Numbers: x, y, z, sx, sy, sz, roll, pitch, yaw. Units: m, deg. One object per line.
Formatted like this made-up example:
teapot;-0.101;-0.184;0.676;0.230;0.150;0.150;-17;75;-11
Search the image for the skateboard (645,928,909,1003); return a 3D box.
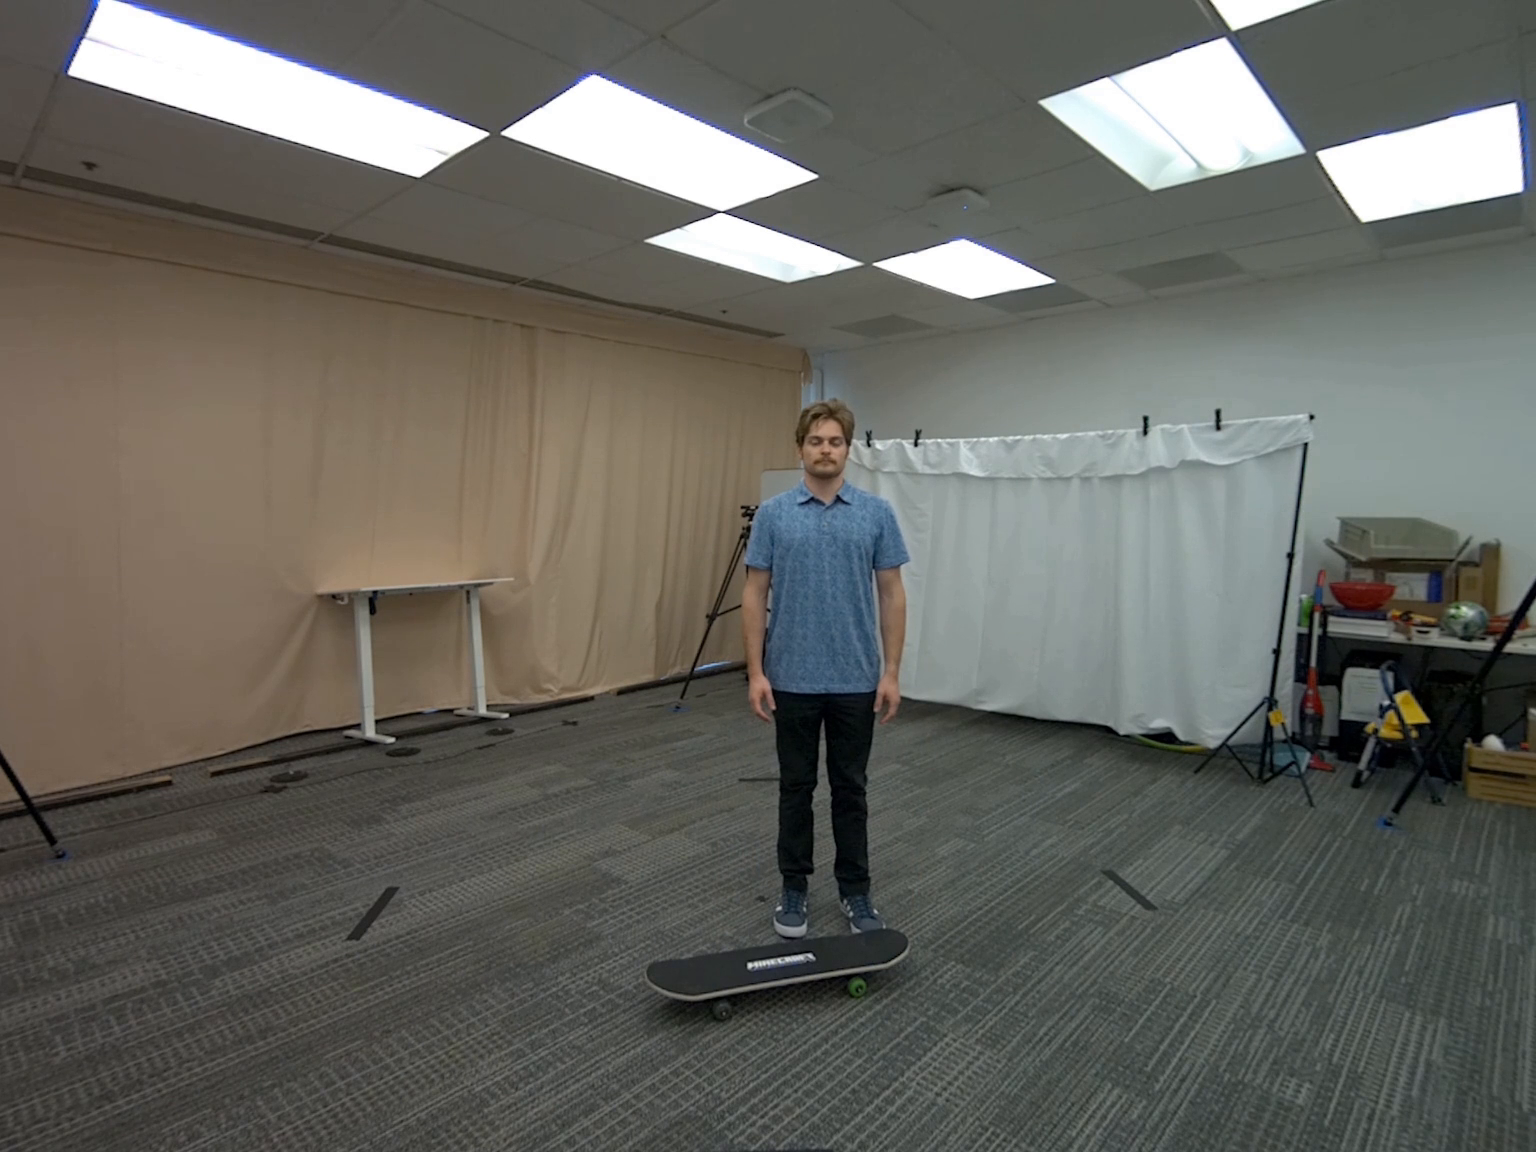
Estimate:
skateboard;0.041;1.143;2.399;0.773;0.110;0.197;-1;4;-14
